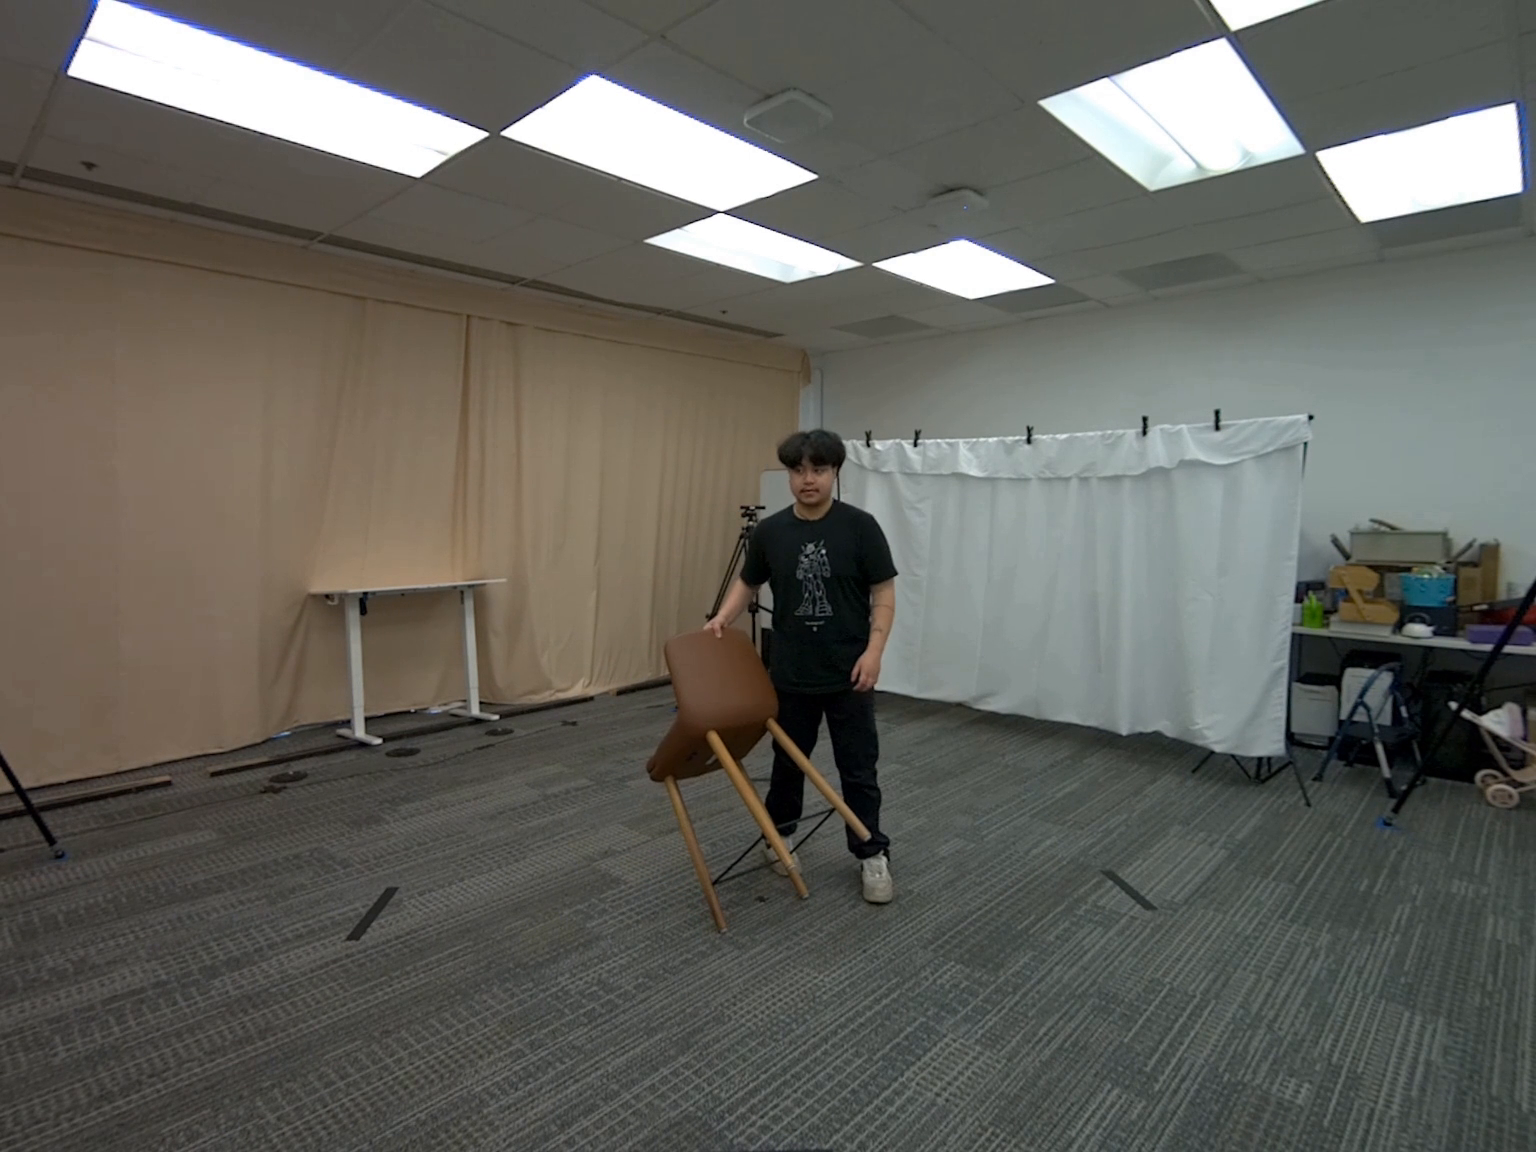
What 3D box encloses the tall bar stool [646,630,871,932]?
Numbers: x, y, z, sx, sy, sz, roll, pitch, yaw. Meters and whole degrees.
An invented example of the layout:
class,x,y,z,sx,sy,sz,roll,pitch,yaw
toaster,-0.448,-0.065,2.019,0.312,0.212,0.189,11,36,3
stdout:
class,x,y,z,sx,sy,sz,roll,pitch,yaw
tall bar stool,-0.109,0.674,2.958,0.443,0.914,0.469,-4,-39,-40
